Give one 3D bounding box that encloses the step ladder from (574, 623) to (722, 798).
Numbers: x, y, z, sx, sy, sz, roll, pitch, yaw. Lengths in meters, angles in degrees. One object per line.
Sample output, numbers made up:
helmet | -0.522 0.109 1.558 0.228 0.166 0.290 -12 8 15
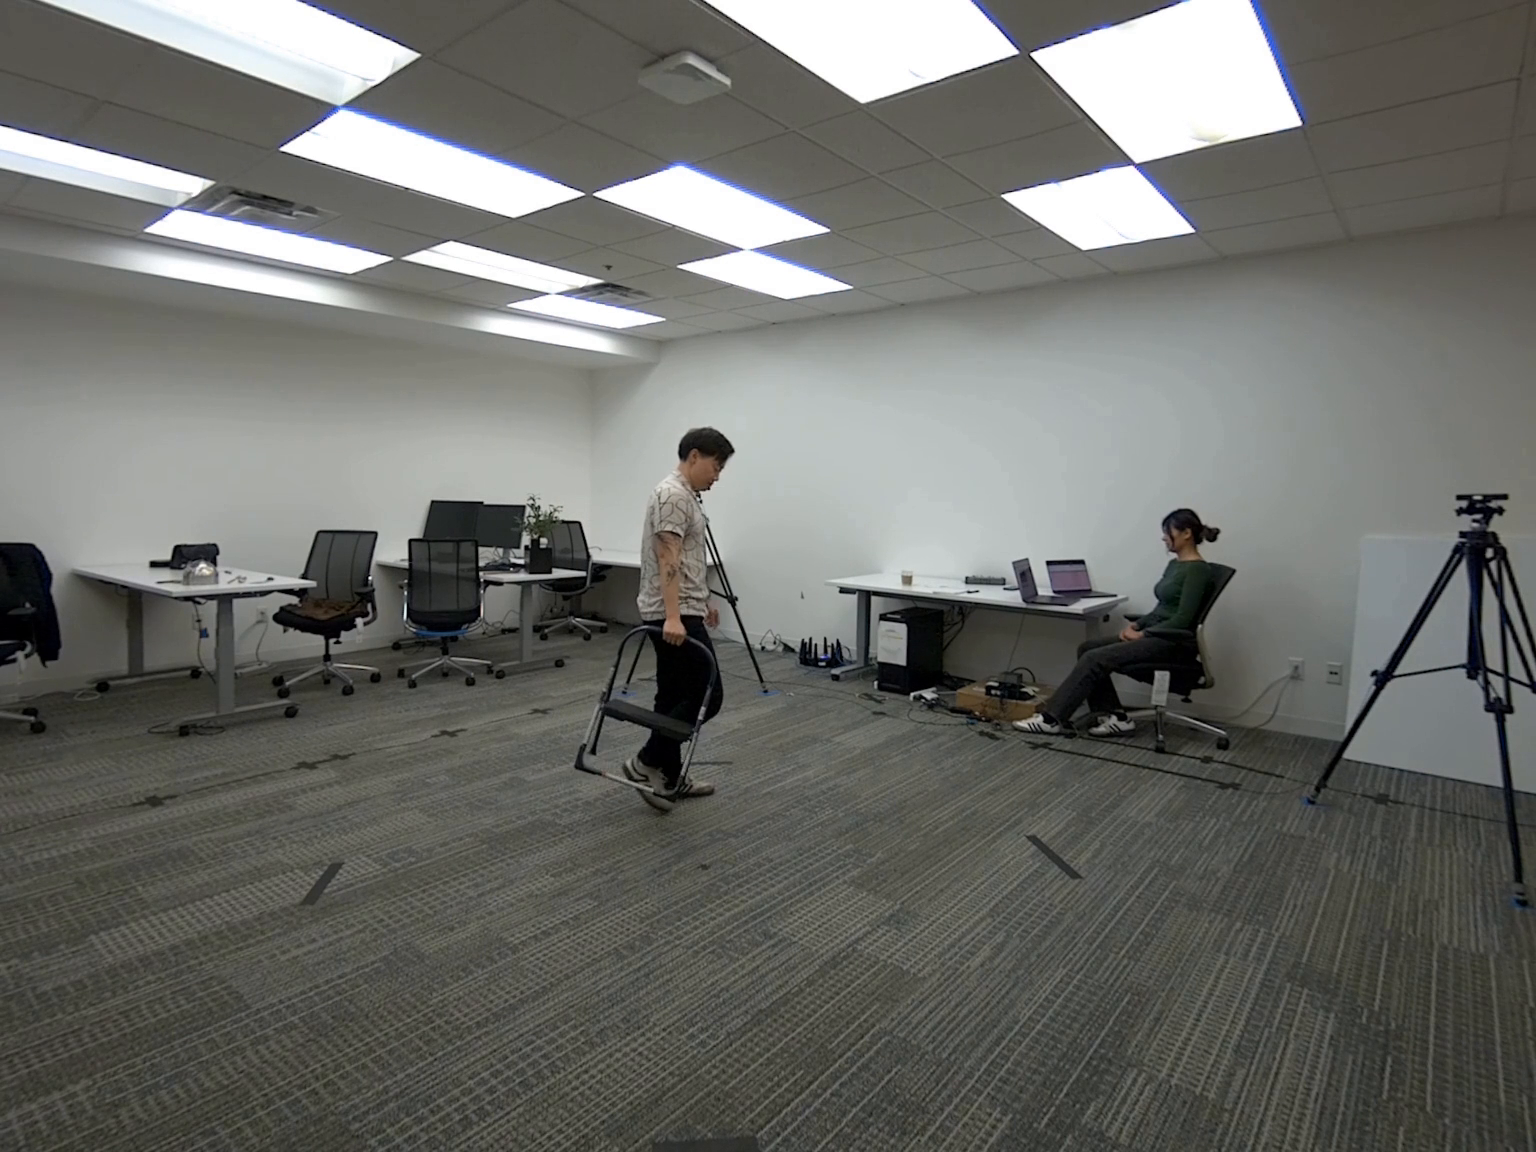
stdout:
step ladder | -0.466 0.520 3.414 0.432 0.607 0.348 17 -2 2
